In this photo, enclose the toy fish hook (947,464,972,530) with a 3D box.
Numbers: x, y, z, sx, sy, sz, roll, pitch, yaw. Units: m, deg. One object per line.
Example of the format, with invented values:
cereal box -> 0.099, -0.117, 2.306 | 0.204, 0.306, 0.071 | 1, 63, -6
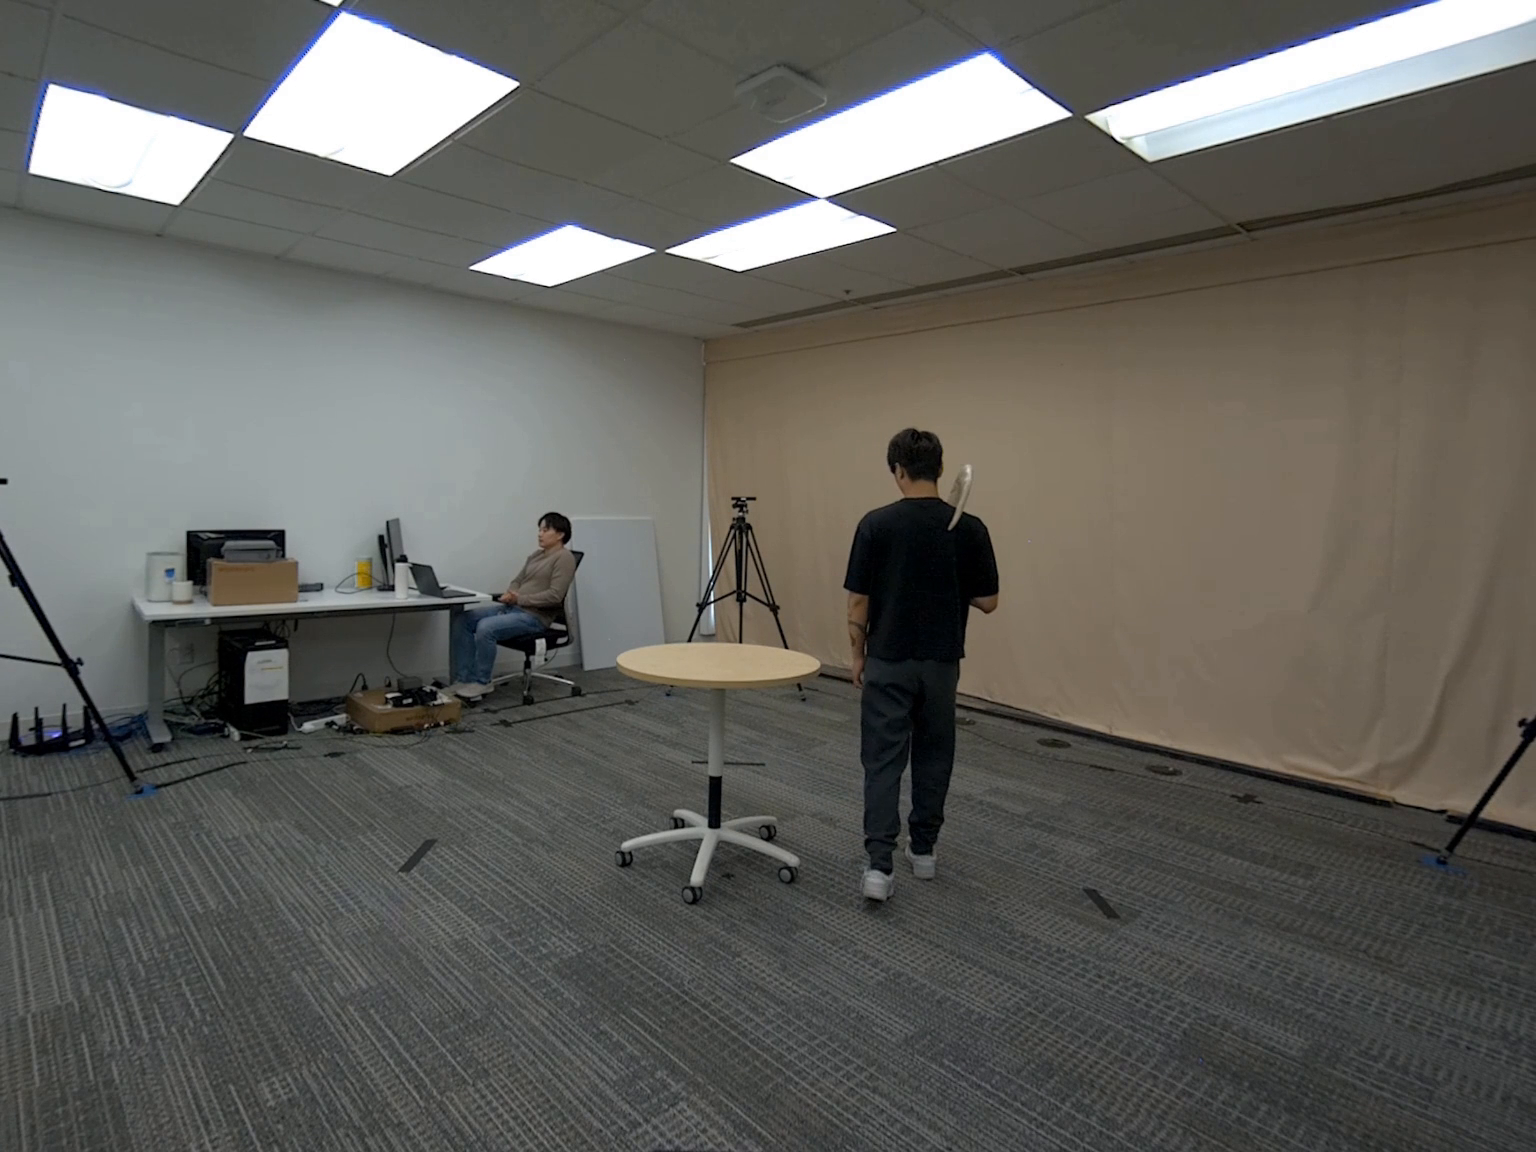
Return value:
toy fish hook -> 0.644, -0.178, 3.081 | 0.048, 0.498, 0.227 | 16, 41, 2
